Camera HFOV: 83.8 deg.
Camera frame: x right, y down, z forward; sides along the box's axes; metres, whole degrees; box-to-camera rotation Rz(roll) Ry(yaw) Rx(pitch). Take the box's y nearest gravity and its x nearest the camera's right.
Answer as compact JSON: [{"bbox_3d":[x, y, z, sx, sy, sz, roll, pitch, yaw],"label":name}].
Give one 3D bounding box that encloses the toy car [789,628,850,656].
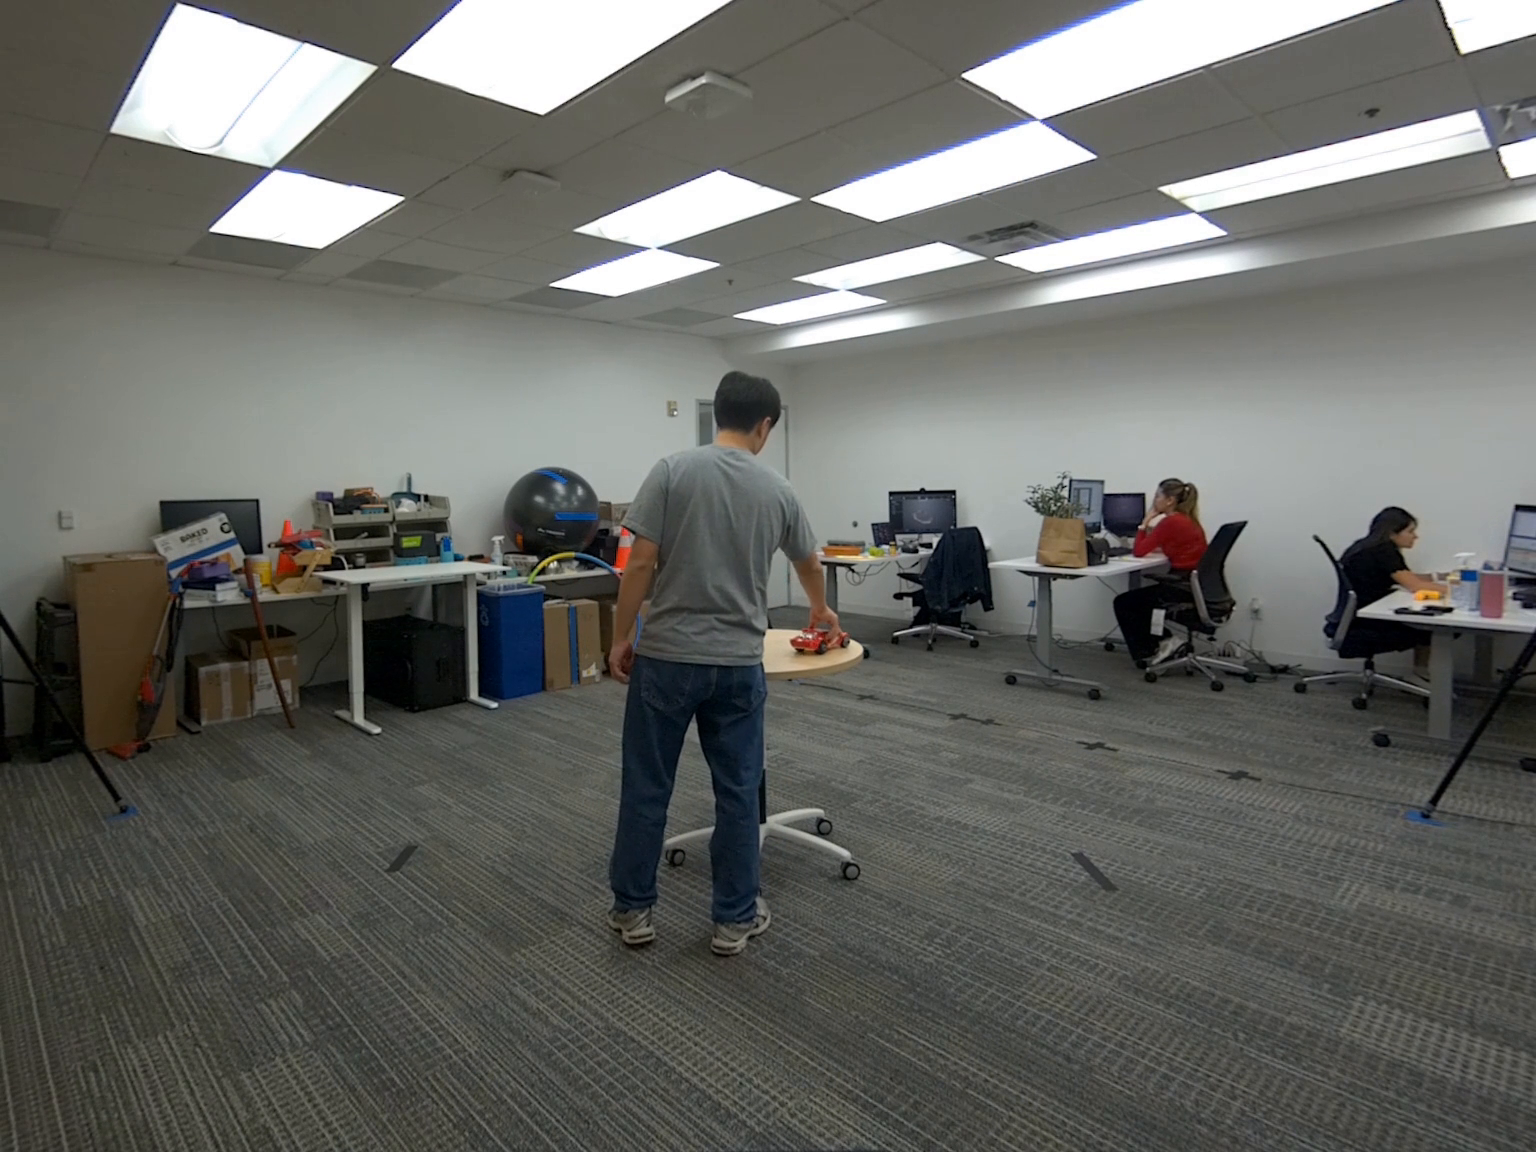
[{"bbox_3d":[0.183,0.235,3.033,0.134,0.083,0.246,4,-3,40],"label":"toy car"}]
